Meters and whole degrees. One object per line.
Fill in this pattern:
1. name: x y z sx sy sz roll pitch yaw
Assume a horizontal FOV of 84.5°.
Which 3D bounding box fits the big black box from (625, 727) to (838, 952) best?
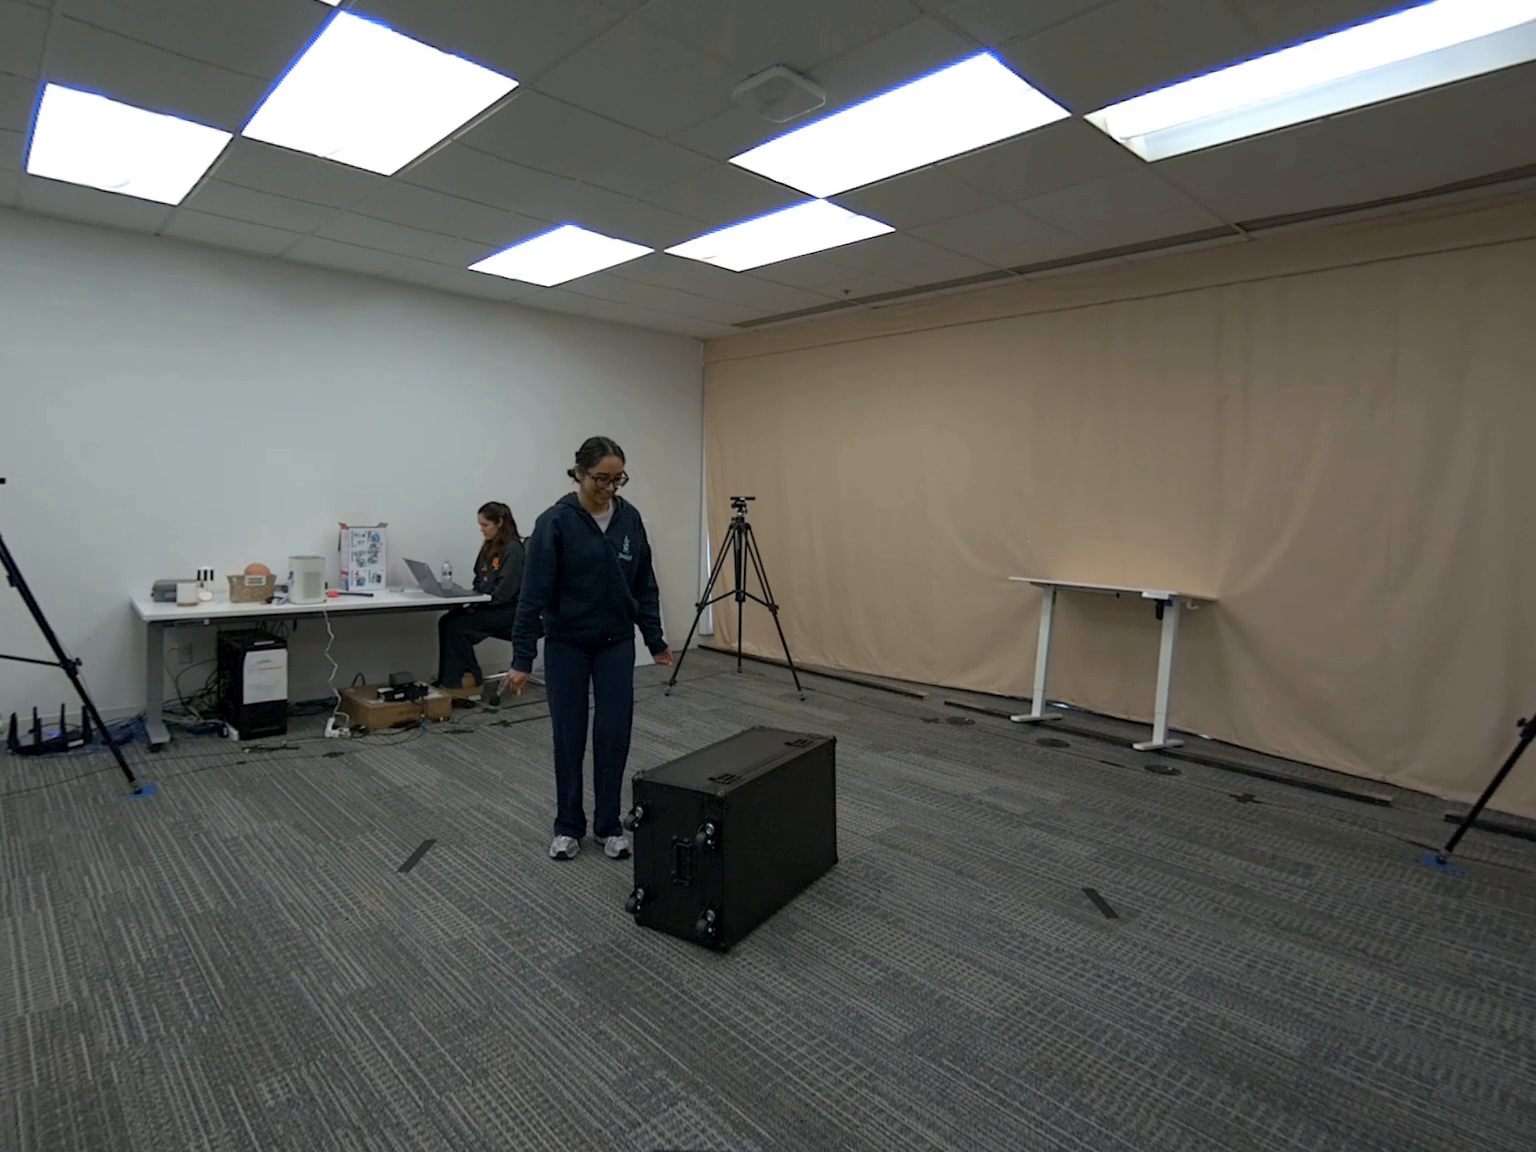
1. big black box: -0.120 0.867 2.938 0.405 0.520 0.845 1 3 31
